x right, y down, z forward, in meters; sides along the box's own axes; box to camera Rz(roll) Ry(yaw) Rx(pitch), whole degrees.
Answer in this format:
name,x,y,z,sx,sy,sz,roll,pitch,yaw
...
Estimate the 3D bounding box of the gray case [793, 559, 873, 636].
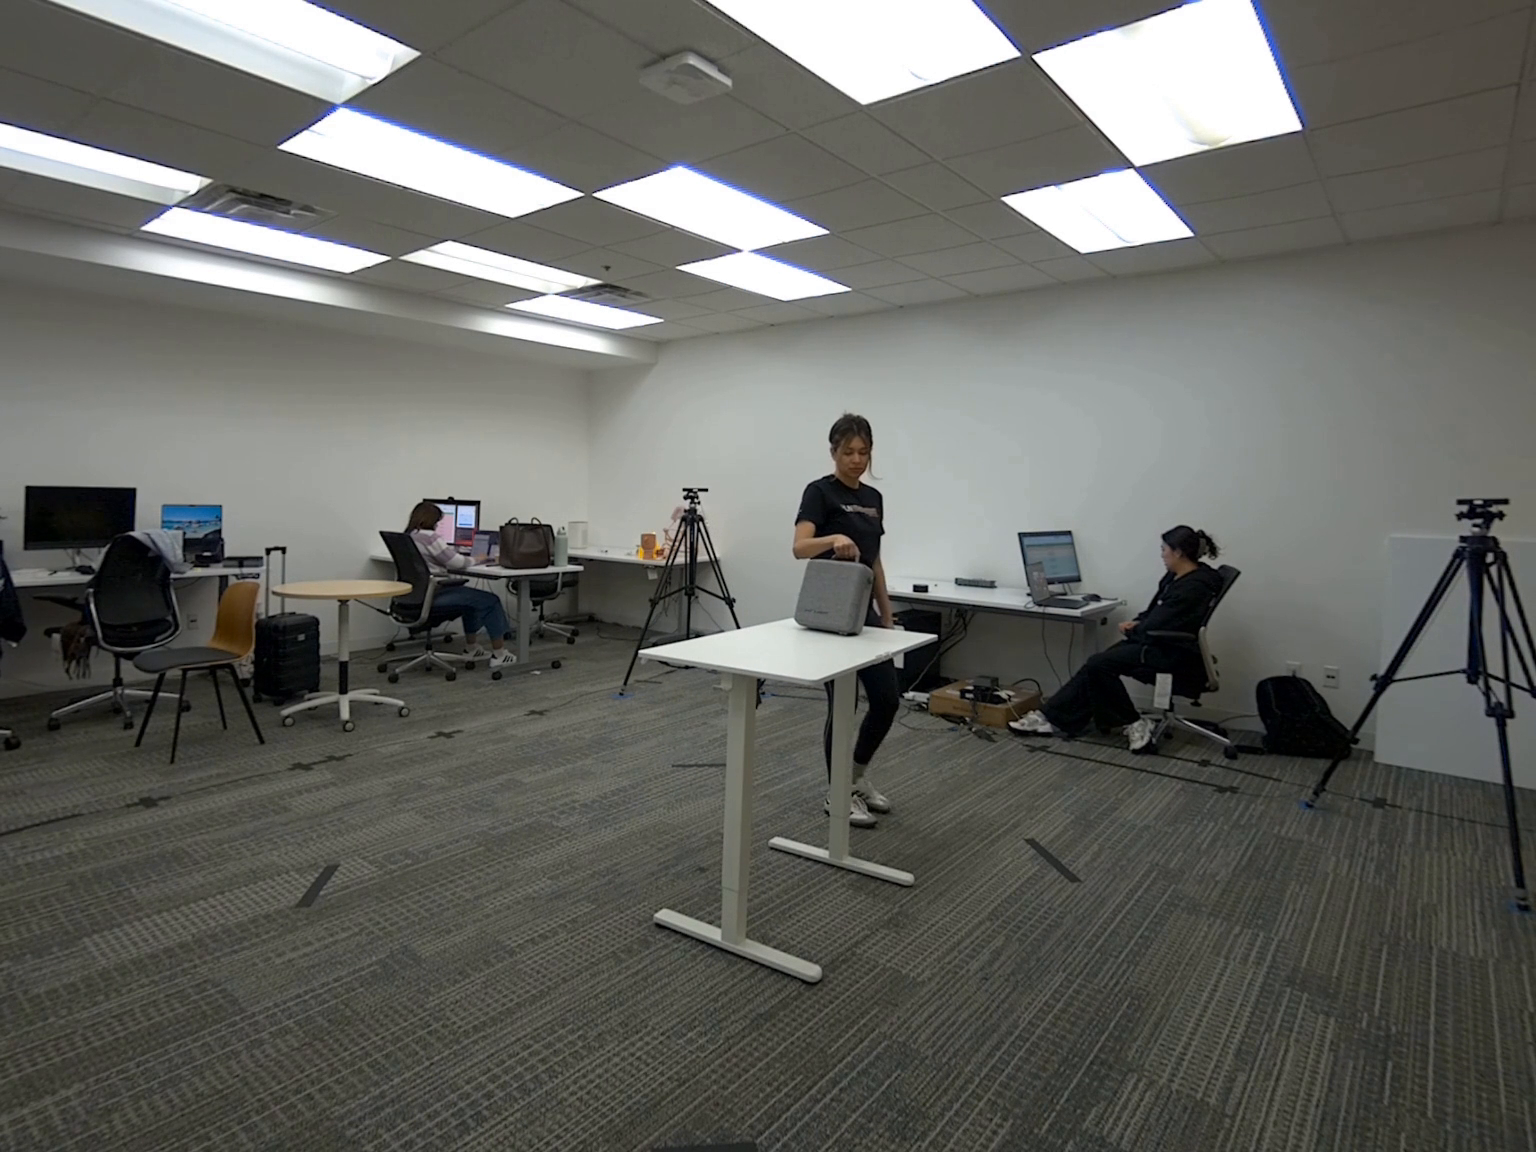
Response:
name,x,y,z,sx,sy,sz,roll,pitch,yaw
gray case,0.230,0.065,3.103,0.265,0.262,0.100,4,-12,45
